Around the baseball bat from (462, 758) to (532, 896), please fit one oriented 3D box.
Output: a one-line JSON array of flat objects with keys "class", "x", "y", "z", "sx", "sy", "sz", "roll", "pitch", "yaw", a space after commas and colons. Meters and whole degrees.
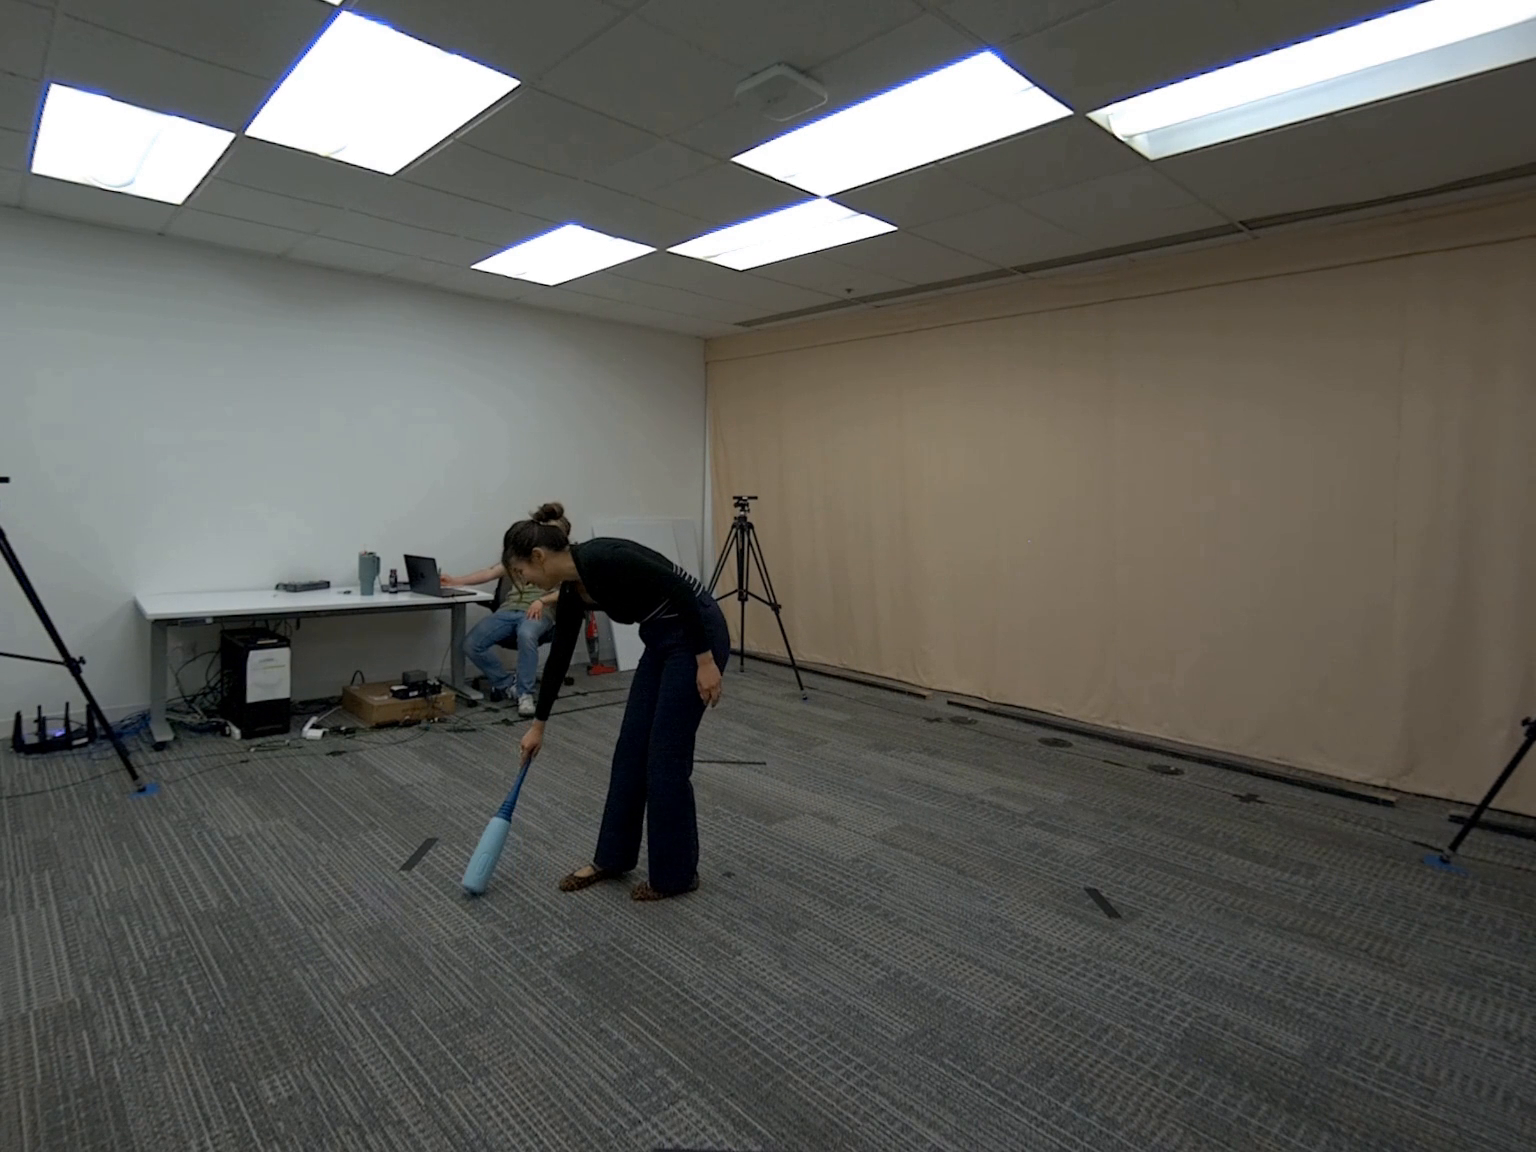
[{"class": "baseball bat", "x": -0.946, "y": 0.858, "z": 3.025, "sx": 0.090, "sy": 0.549, "sz": 0.087, "roll": 13, "pitch": -31, "yaw": 7}]
